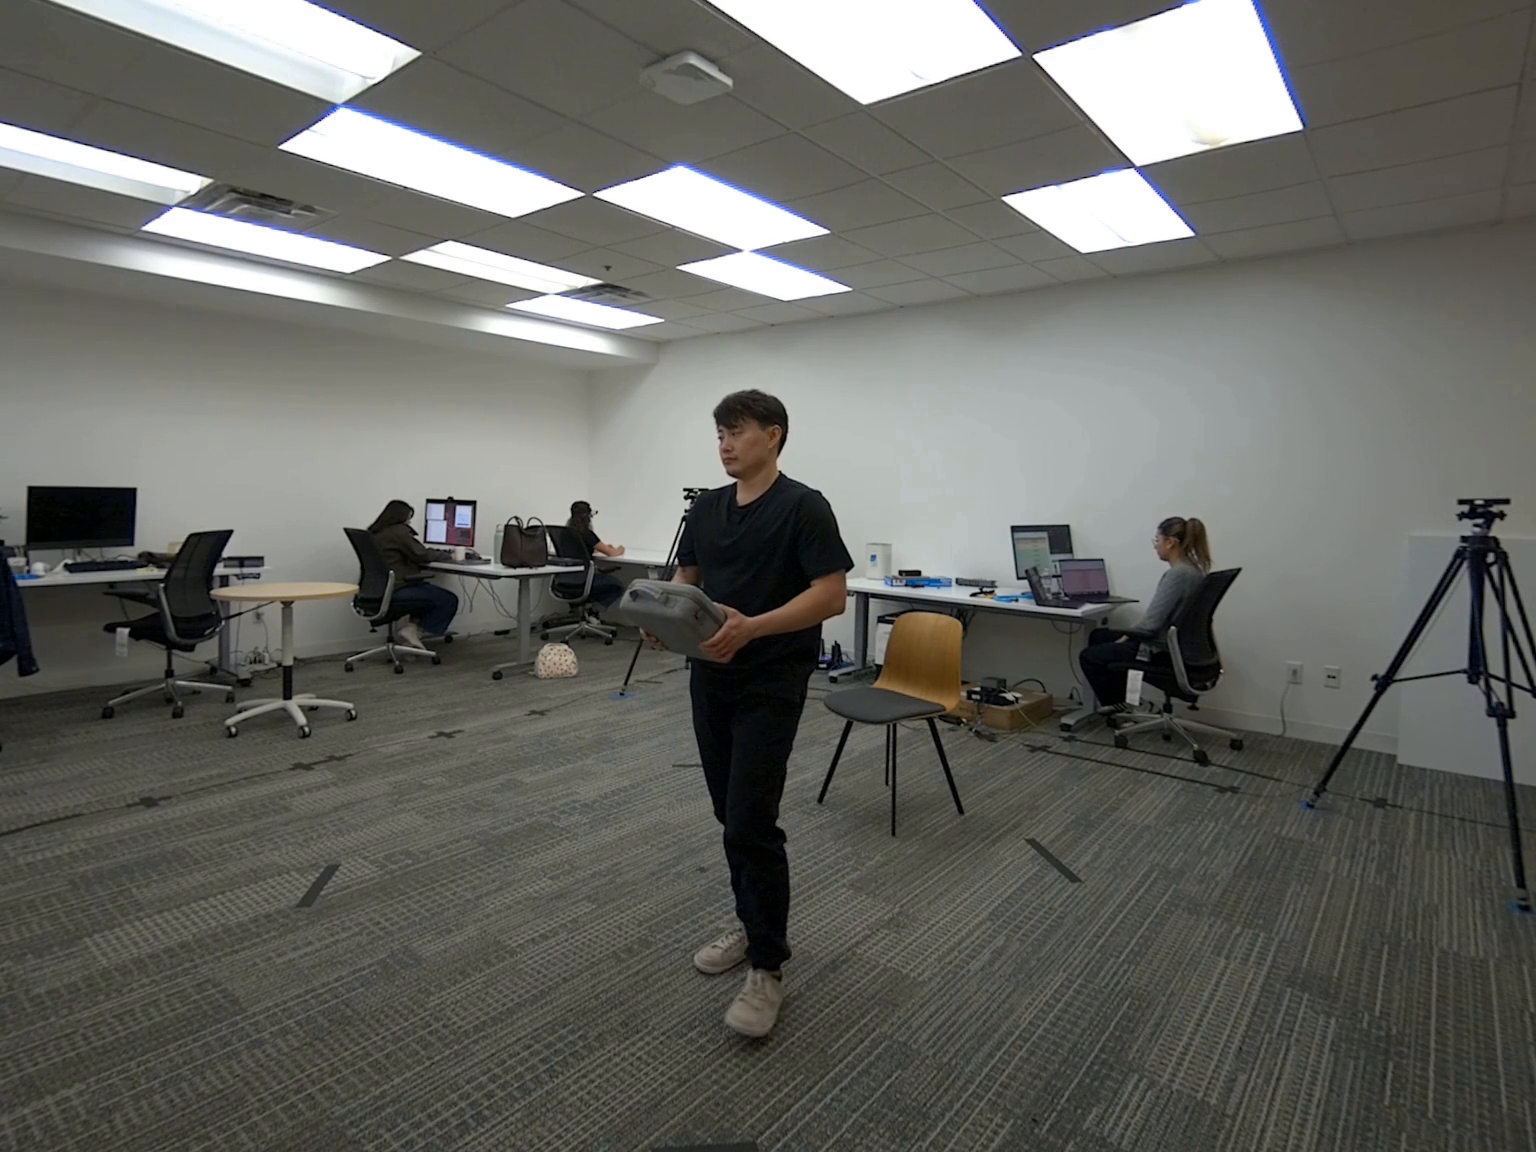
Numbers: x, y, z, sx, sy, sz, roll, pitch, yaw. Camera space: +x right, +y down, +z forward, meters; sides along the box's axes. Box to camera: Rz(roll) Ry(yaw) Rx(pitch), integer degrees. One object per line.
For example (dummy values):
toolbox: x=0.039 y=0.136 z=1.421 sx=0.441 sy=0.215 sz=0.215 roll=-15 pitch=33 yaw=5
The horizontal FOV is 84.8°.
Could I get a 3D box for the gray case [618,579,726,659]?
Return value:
gray case: x=-0.242 y=0.105 z=2.248 sx=0.266 sy=0.105 sz=0.250 roll=5 pitch=-29 yaw=42
